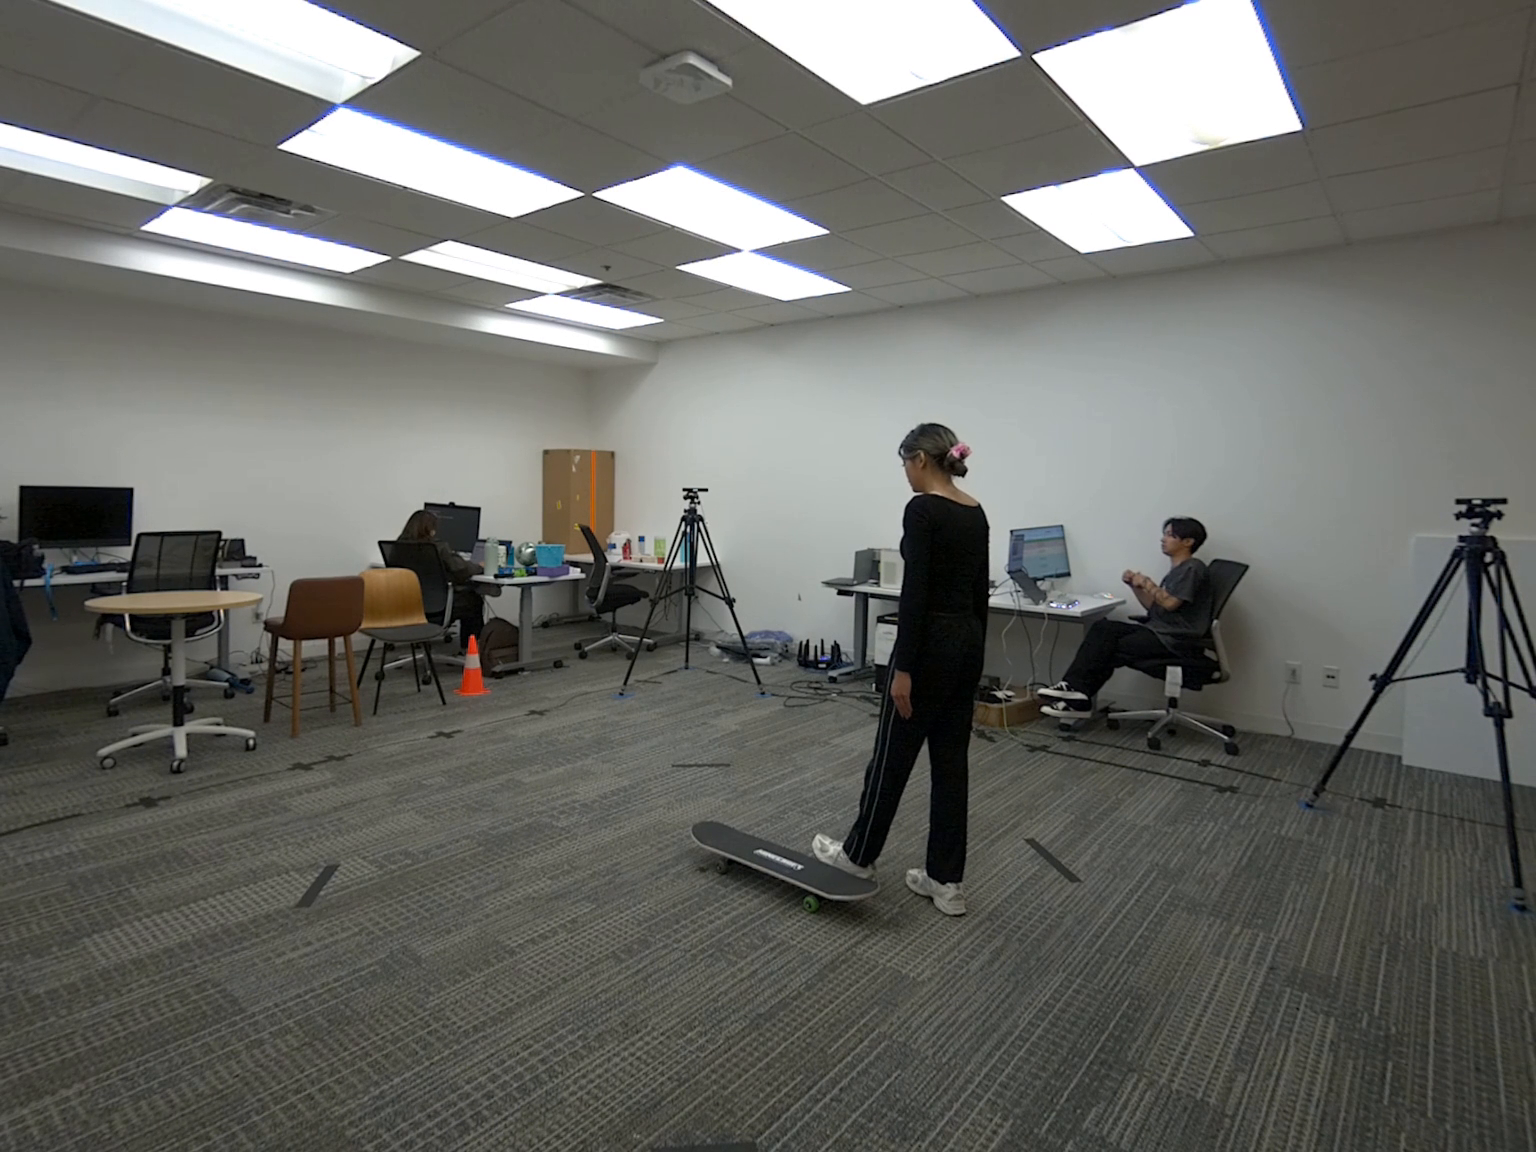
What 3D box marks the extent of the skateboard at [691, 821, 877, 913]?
[{"bbox_3d":[0.030,1.029,2.998,0.812,0.110,0.188,6,7,40],"label":"skateboard"}]
